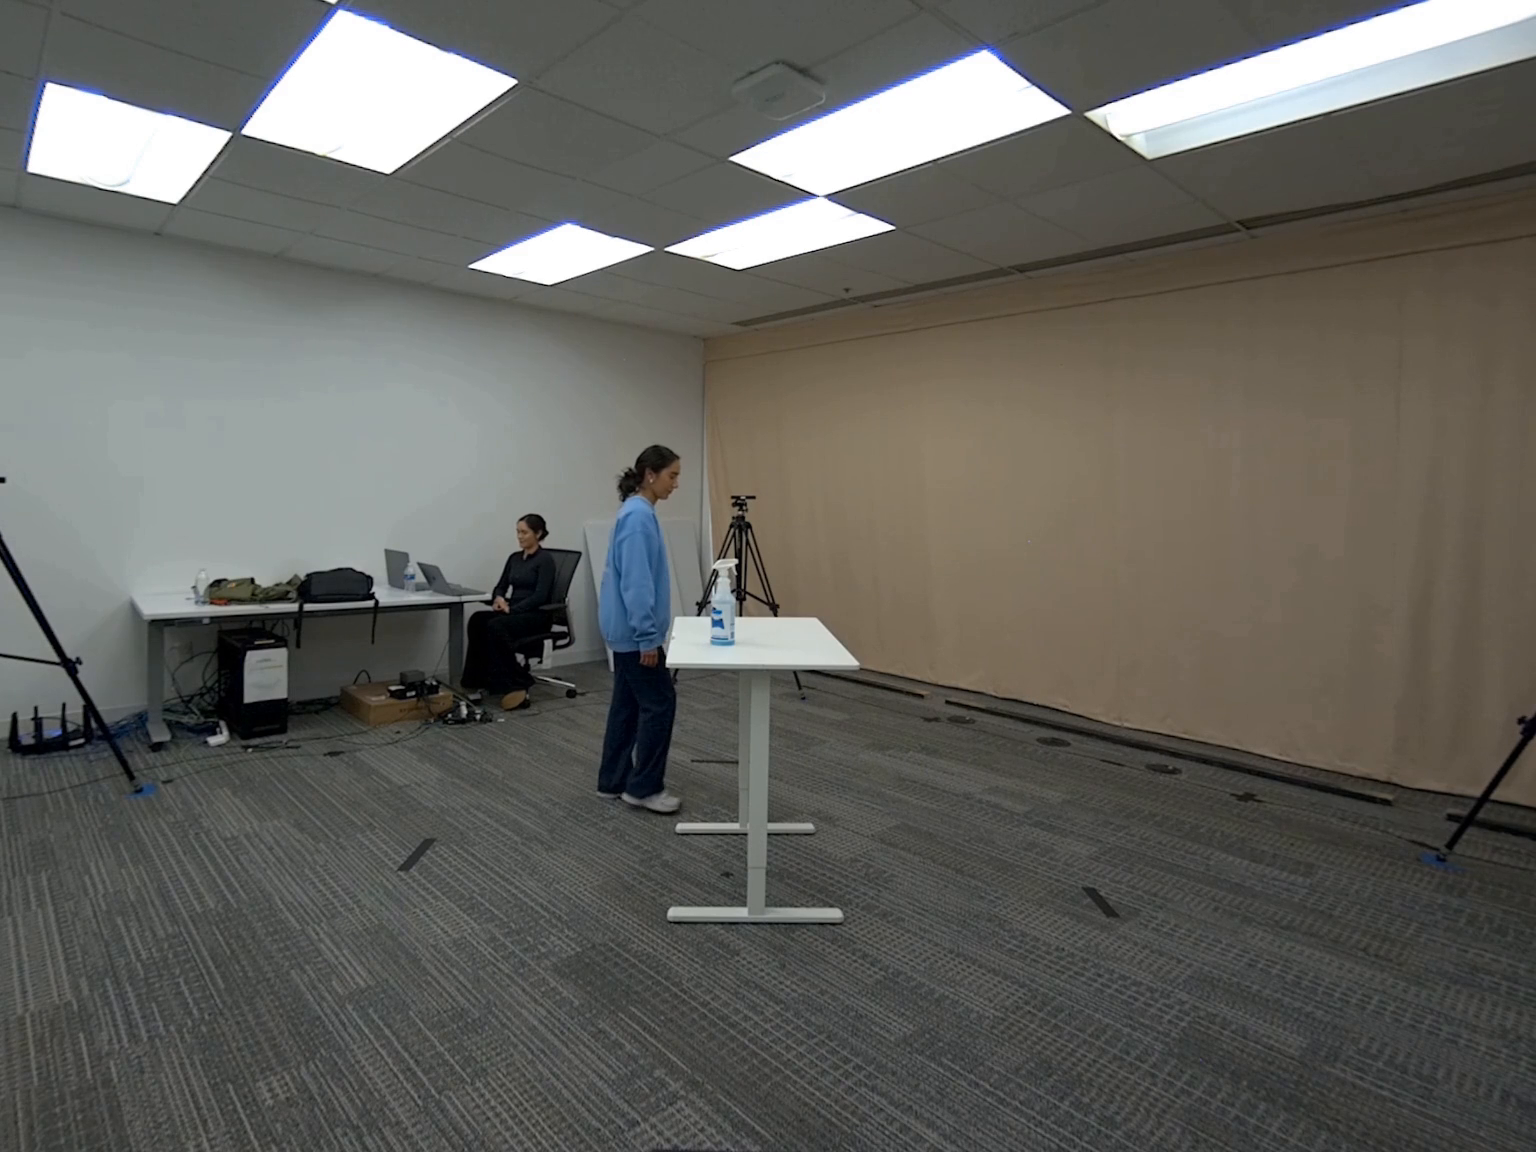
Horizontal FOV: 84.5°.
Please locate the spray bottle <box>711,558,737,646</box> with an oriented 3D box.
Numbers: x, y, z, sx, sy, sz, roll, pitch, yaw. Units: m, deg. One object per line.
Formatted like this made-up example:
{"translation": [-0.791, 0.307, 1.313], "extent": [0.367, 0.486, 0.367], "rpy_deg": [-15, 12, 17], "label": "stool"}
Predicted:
{"translation": [-0.159, 0.094, 2.927], "extent": [0.090, 0.297, 0.087], "rpy_deg": [1, 2, 4], "label": "spray bottle"}
